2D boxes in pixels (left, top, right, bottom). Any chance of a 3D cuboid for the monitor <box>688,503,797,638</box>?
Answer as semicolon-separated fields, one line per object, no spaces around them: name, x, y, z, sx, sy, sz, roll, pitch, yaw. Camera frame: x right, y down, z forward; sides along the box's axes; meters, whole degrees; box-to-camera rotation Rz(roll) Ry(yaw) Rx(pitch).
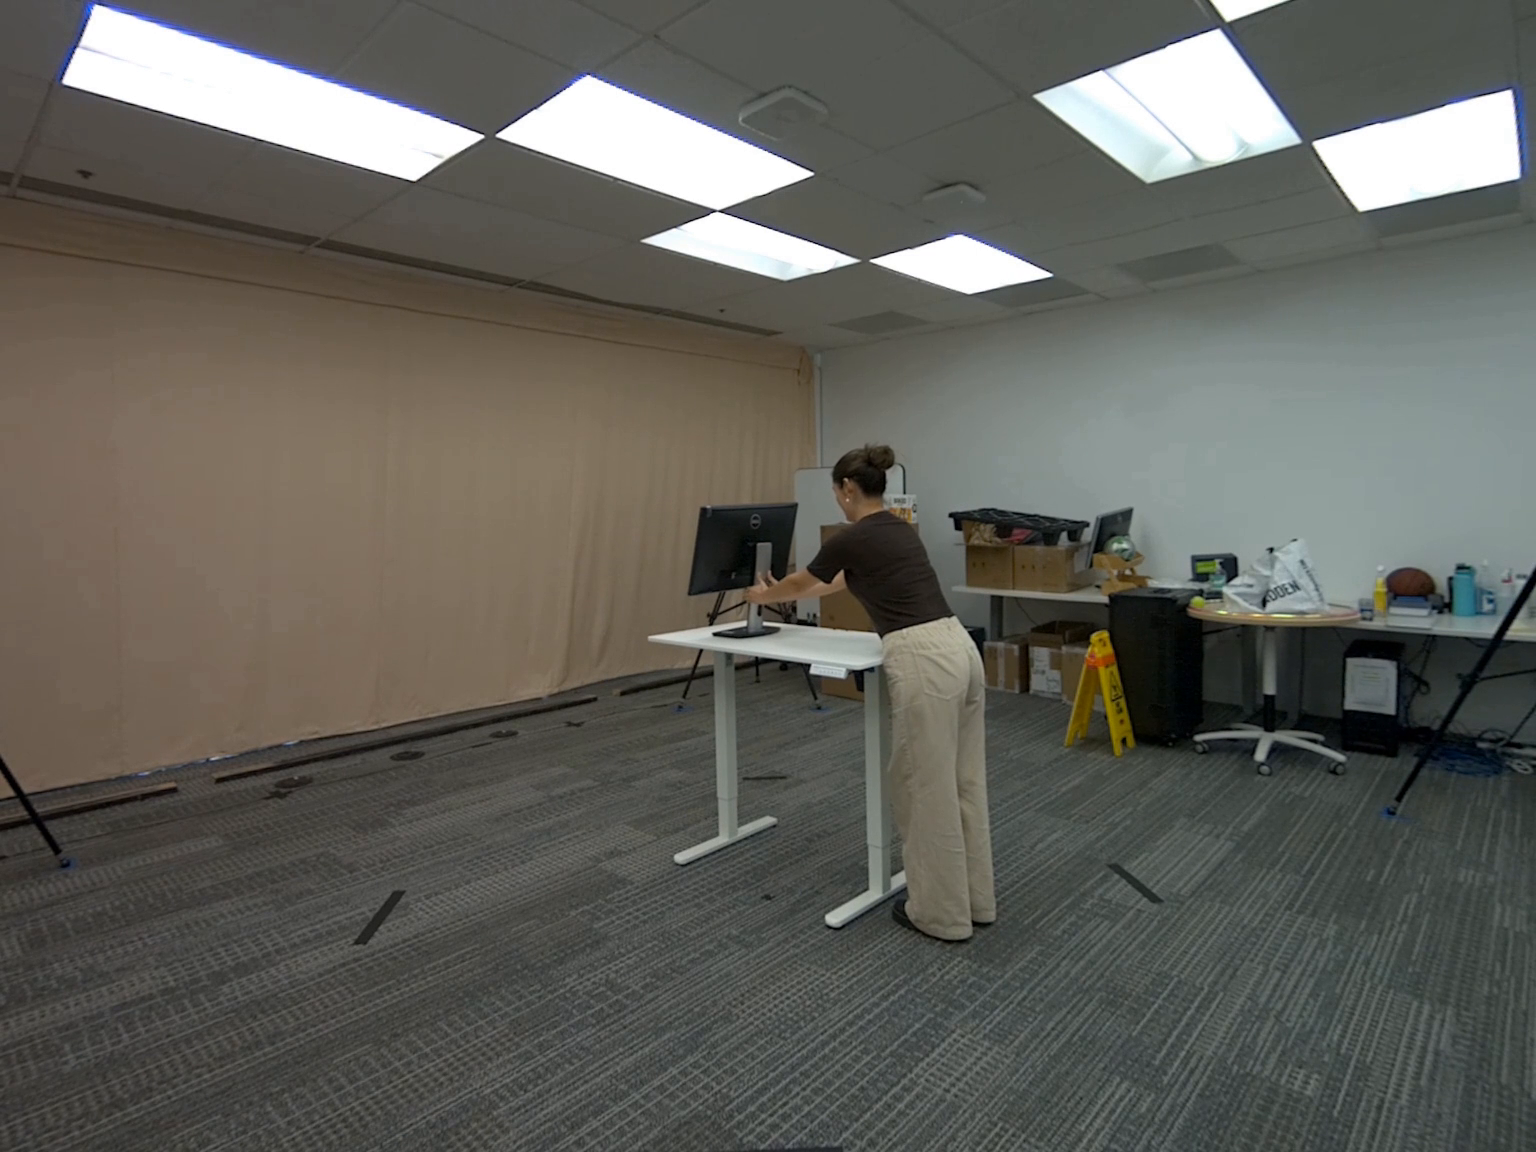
monitor;-0.071;-0.022;3.334;0.193;0.521;0.523;5;8;43
